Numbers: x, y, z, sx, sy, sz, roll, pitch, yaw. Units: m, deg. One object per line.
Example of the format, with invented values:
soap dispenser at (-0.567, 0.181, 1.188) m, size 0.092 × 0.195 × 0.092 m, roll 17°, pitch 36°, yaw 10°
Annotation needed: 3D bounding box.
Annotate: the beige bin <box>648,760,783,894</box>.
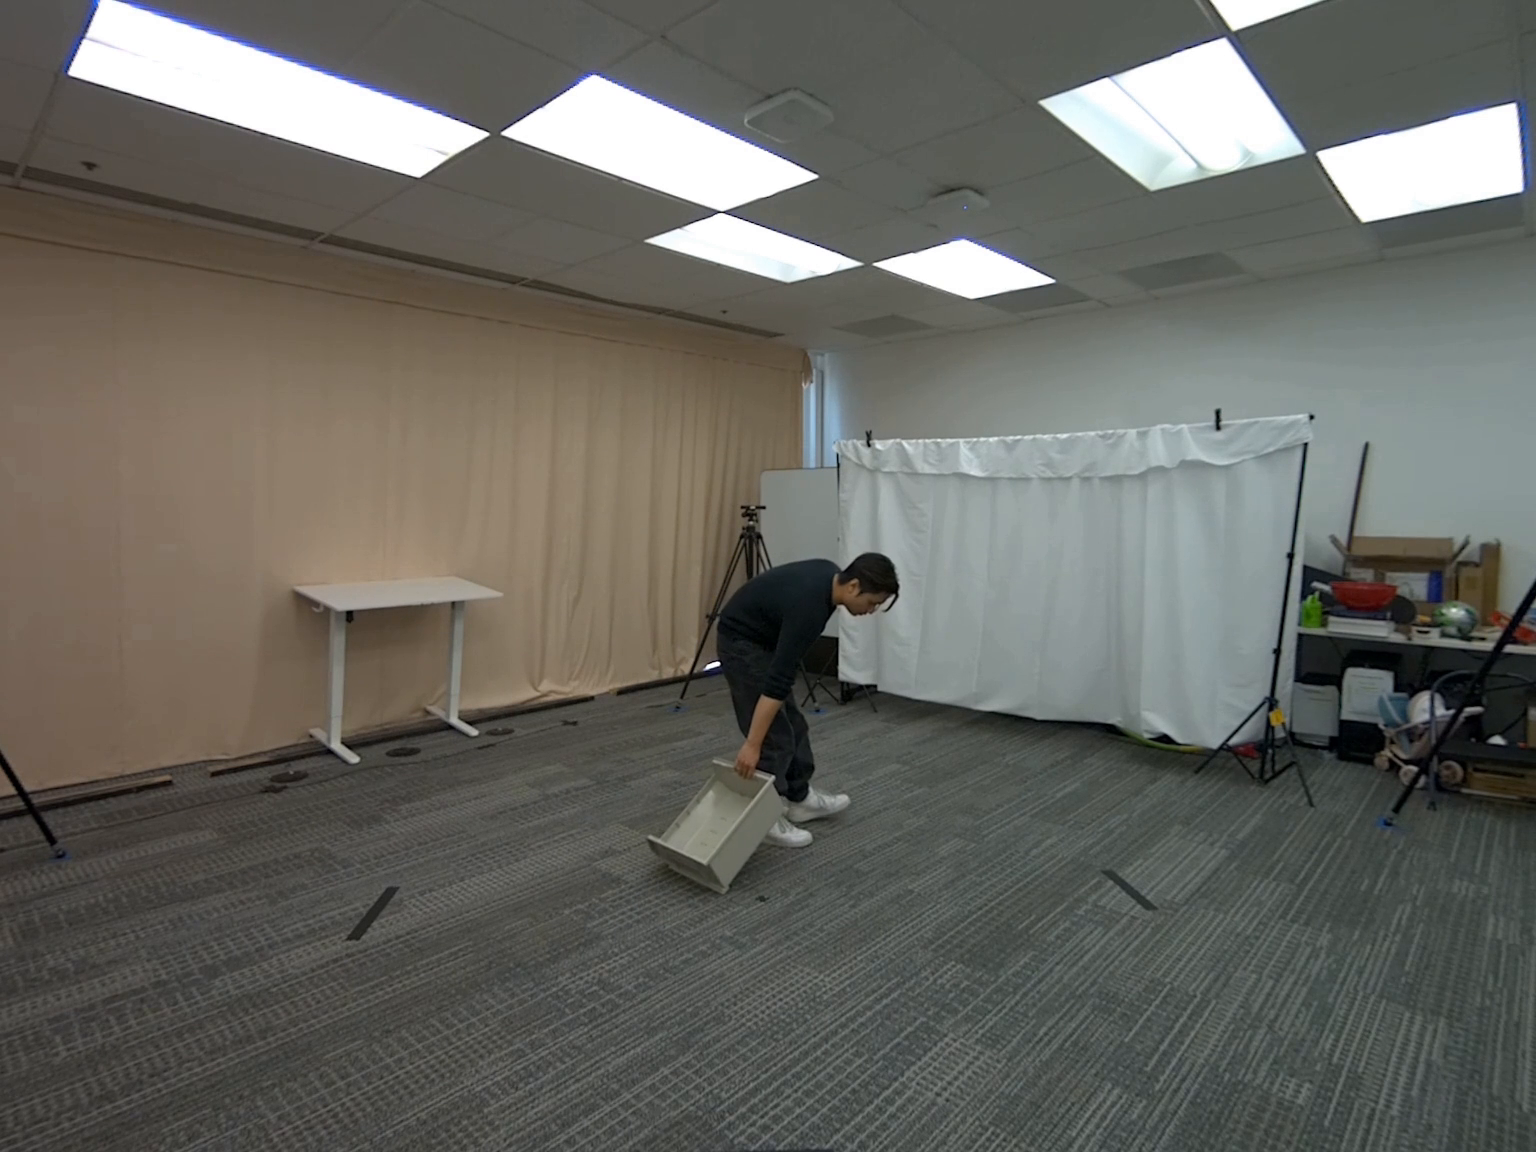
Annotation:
beige bin at (-0.197, 0.935, 3.216) m, size 0.390 × 0.184 × 0.418 m, roll 6°, pitch 40°, yaw 45°
